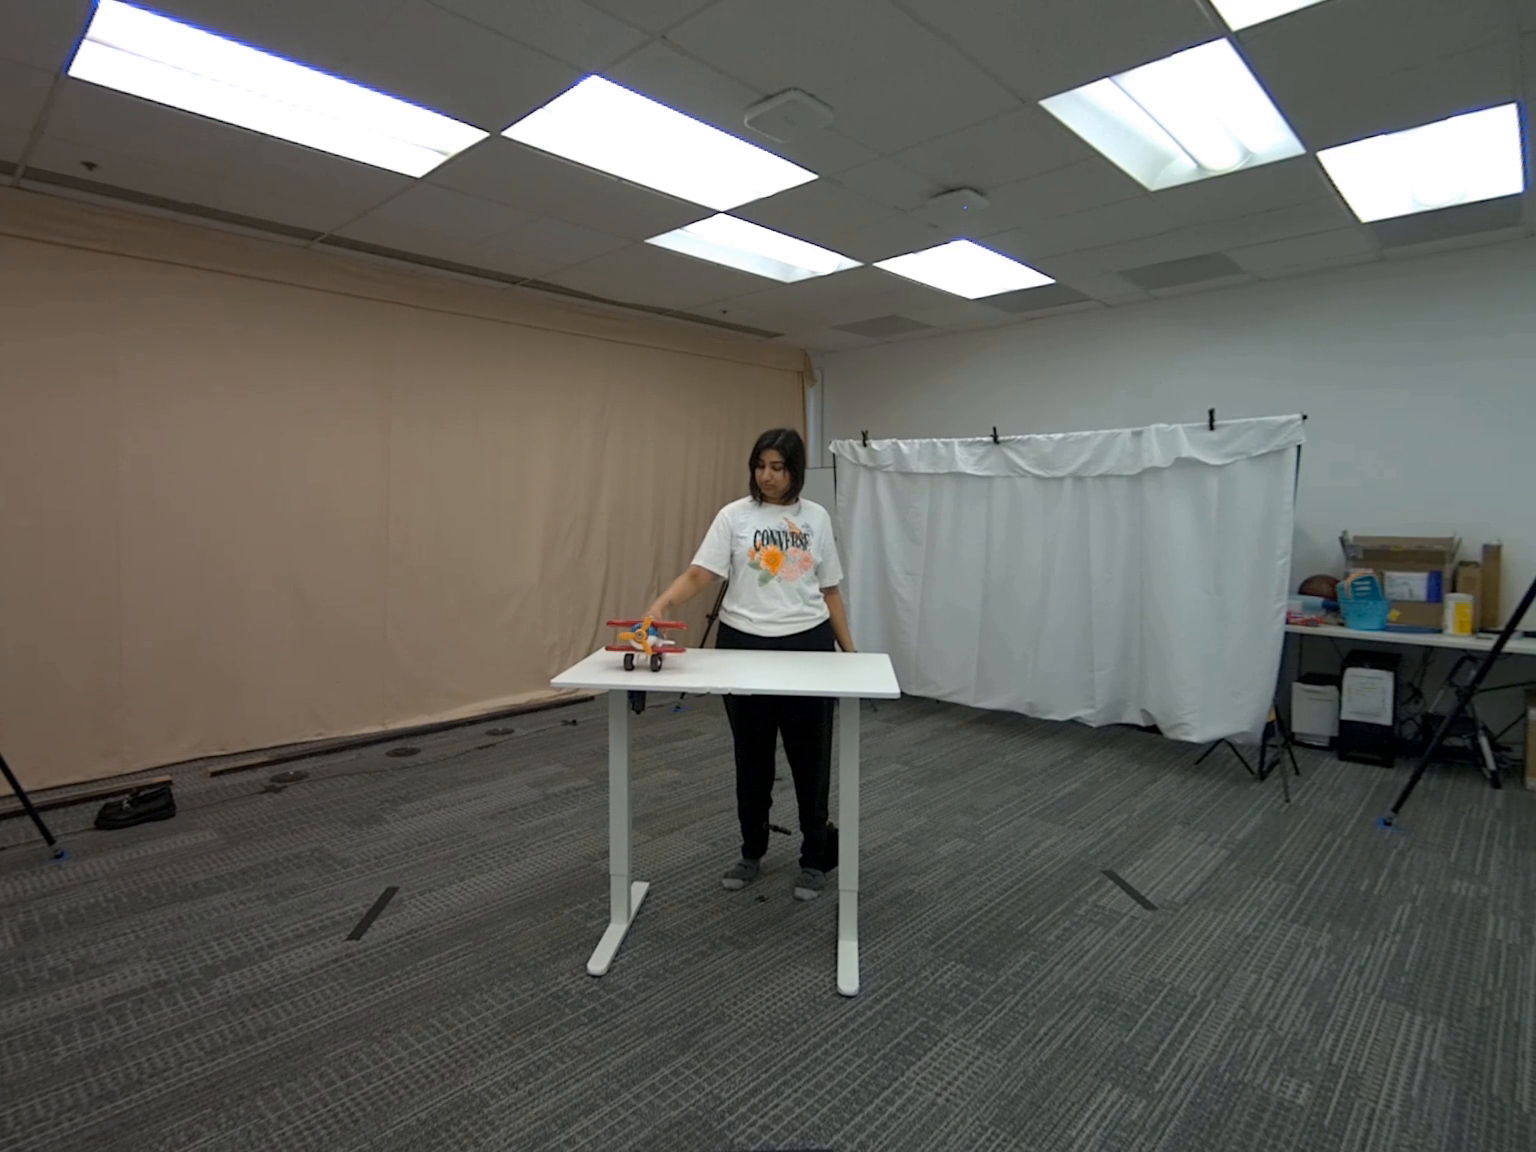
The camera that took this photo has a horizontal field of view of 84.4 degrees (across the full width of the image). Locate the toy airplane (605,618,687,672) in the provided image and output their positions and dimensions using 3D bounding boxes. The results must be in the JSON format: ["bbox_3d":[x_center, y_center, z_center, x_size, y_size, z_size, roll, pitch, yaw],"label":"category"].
[{"bbox_3d":[-0.399,0.210,2.681,0.246,0.156,0.265,-1,5,-20],"label":"toy airplane"}]
